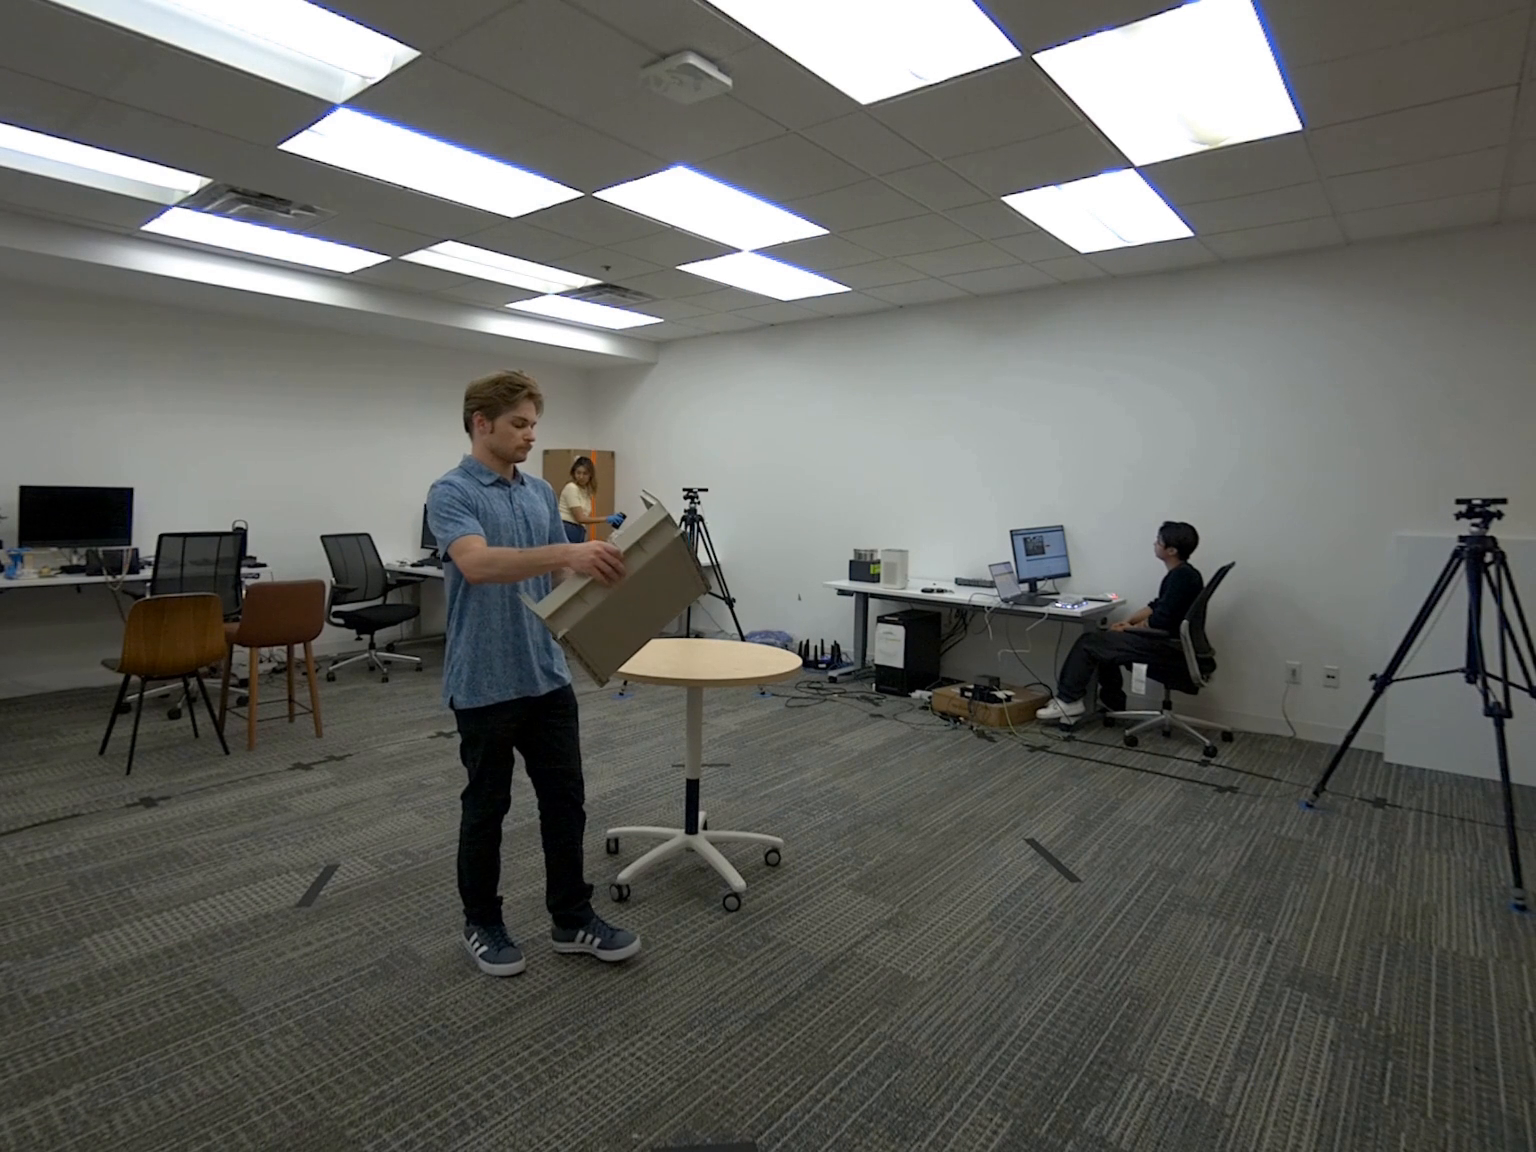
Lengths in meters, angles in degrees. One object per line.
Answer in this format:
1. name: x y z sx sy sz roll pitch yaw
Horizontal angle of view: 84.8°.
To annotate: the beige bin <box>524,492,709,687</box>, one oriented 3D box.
1. beige bin: -0.404 0.029 2.260 0.196 0.421 0.364 42 -13 28
